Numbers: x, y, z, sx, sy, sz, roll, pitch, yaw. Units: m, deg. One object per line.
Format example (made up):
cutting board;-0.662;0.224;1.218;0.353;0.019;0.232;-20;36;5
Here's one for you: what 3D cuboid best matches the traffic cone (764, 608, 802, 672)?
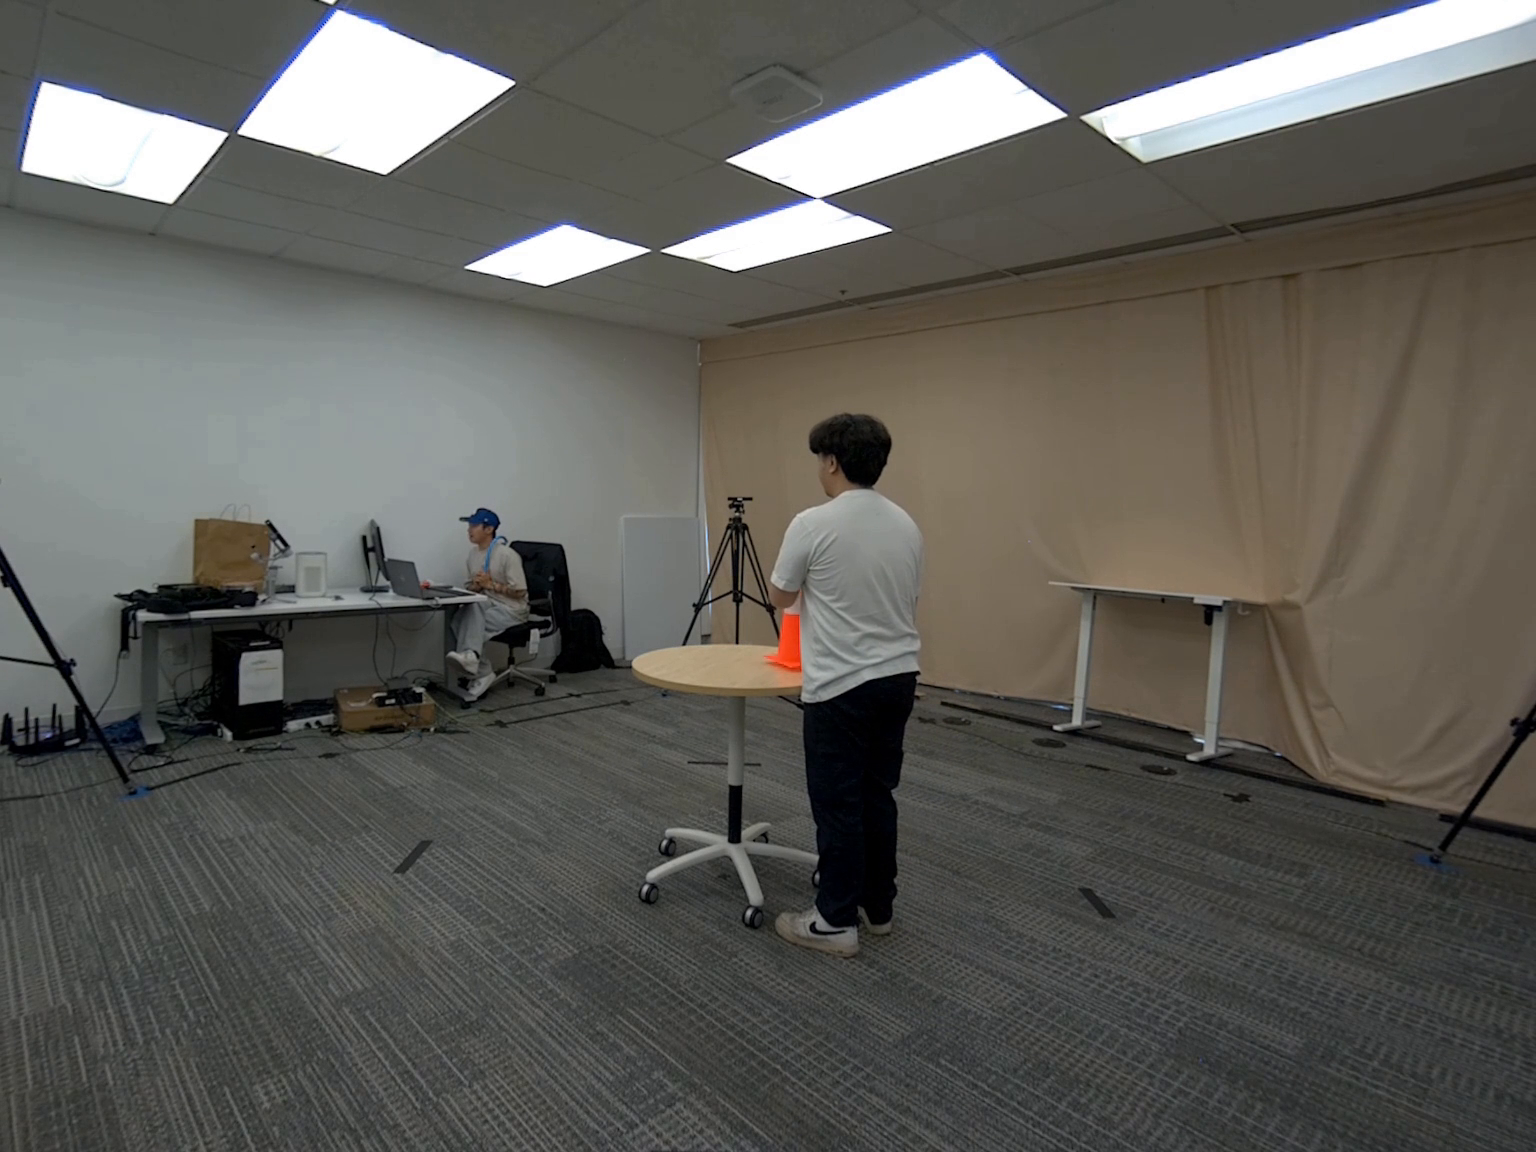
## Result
traffic cone;0.108;0.114;3.006;0.200;0.382;0.209;-5;8;-42
